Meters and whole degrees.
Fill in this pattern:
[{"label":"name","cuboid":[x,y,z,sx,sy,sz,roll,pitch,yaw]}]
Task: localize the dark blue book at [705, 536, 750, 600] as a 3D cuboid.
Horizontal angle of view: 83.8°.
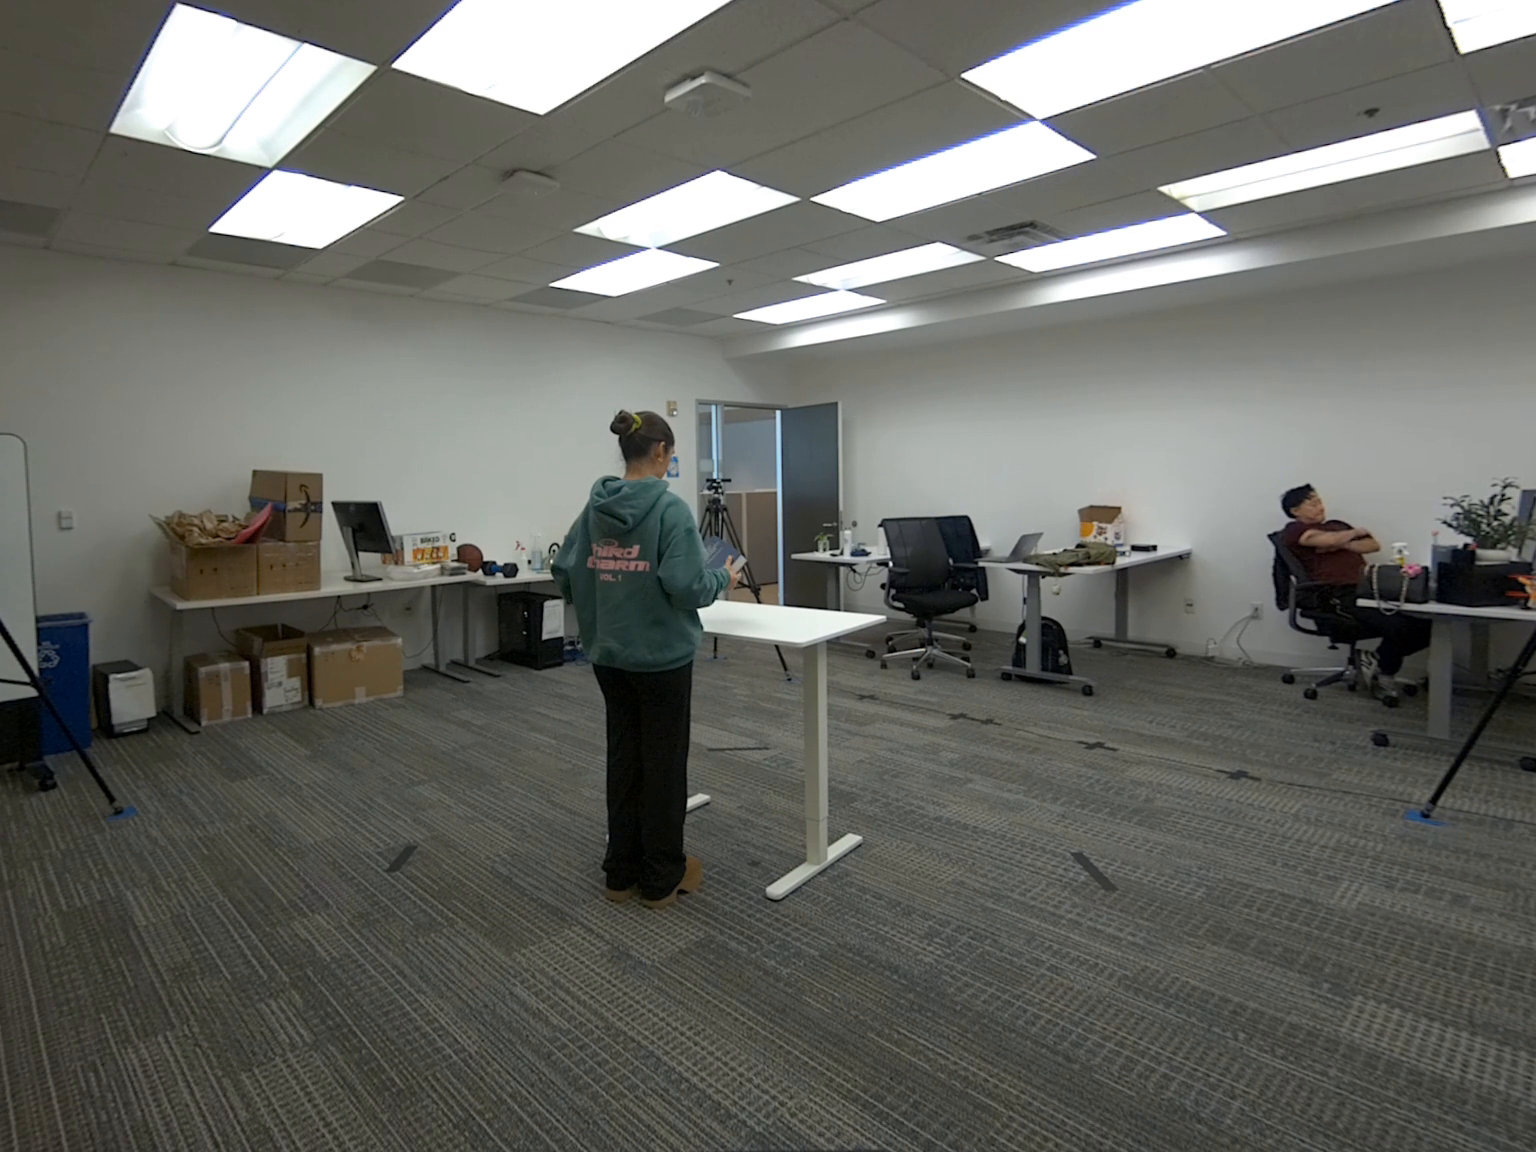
[{"label":"dark blue book","cuboid":[-0.185,-0.034,2.986,0.044,0.163,0.253,45,-5,-30]}]
